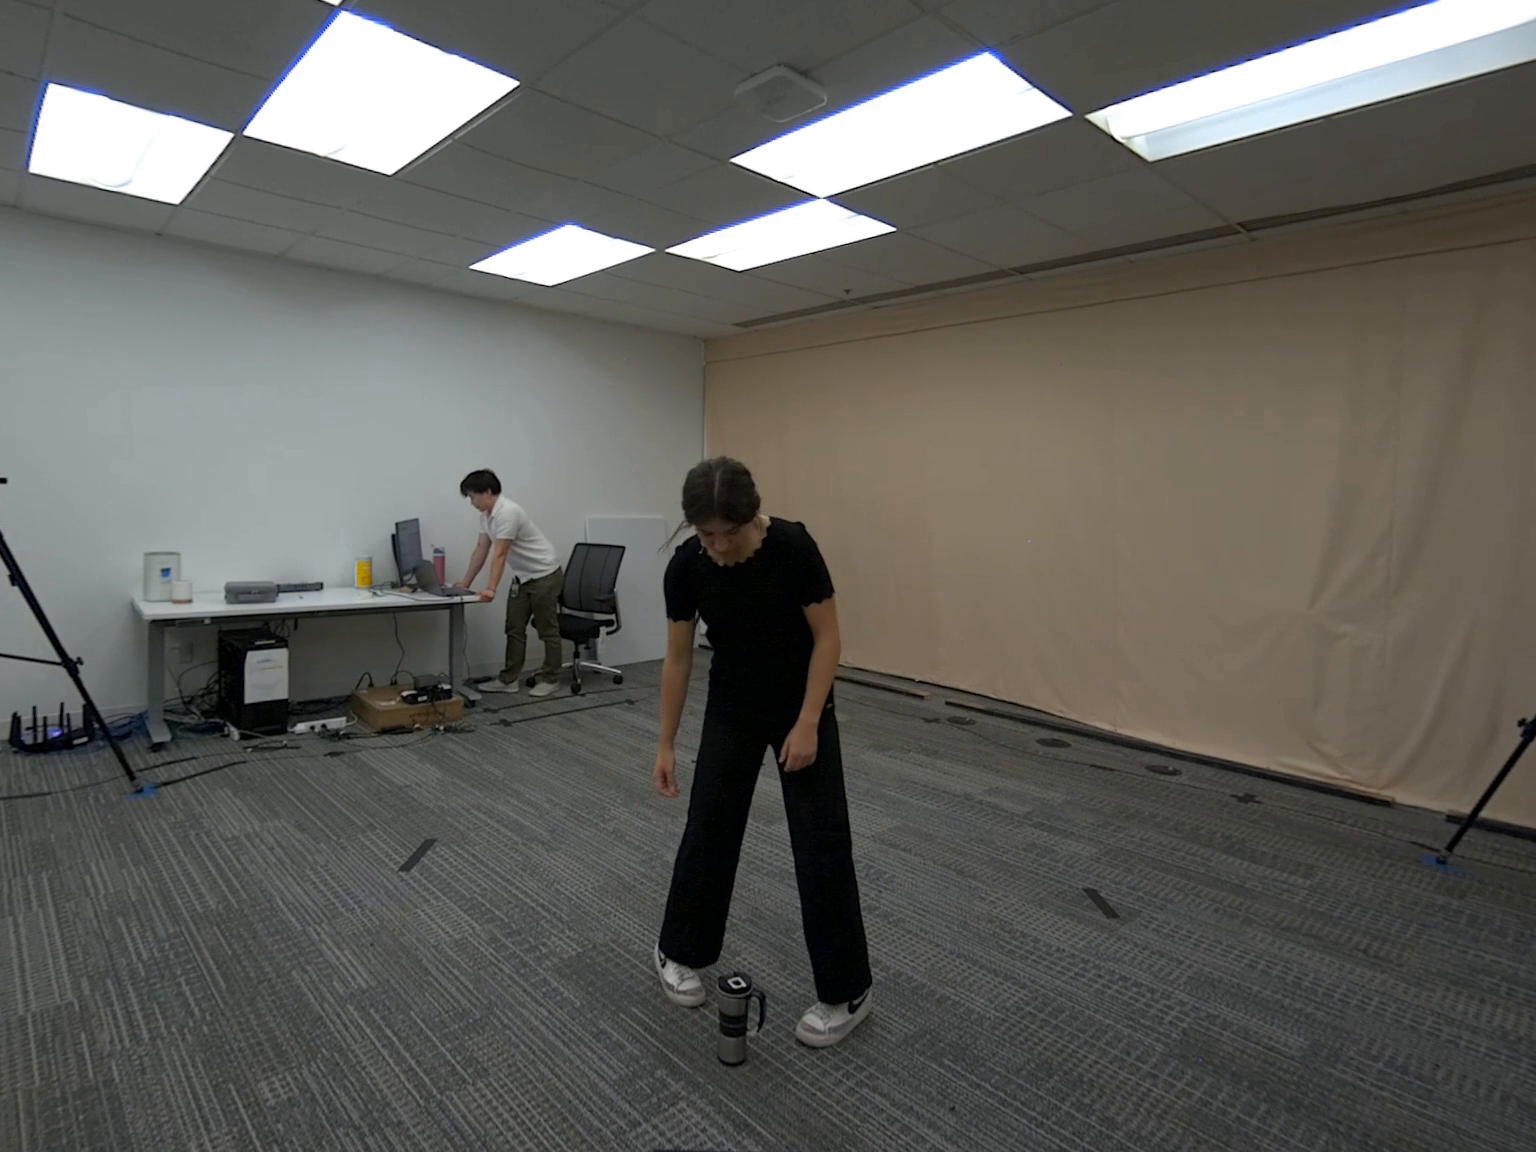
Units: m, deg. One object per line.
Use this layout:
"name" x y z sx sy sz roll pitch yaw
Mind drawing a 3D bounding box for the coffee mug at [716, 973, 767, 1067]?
"coffee mug" -0.068 1.101 2.071 0.125 0.203 0.086 1 -1 39
